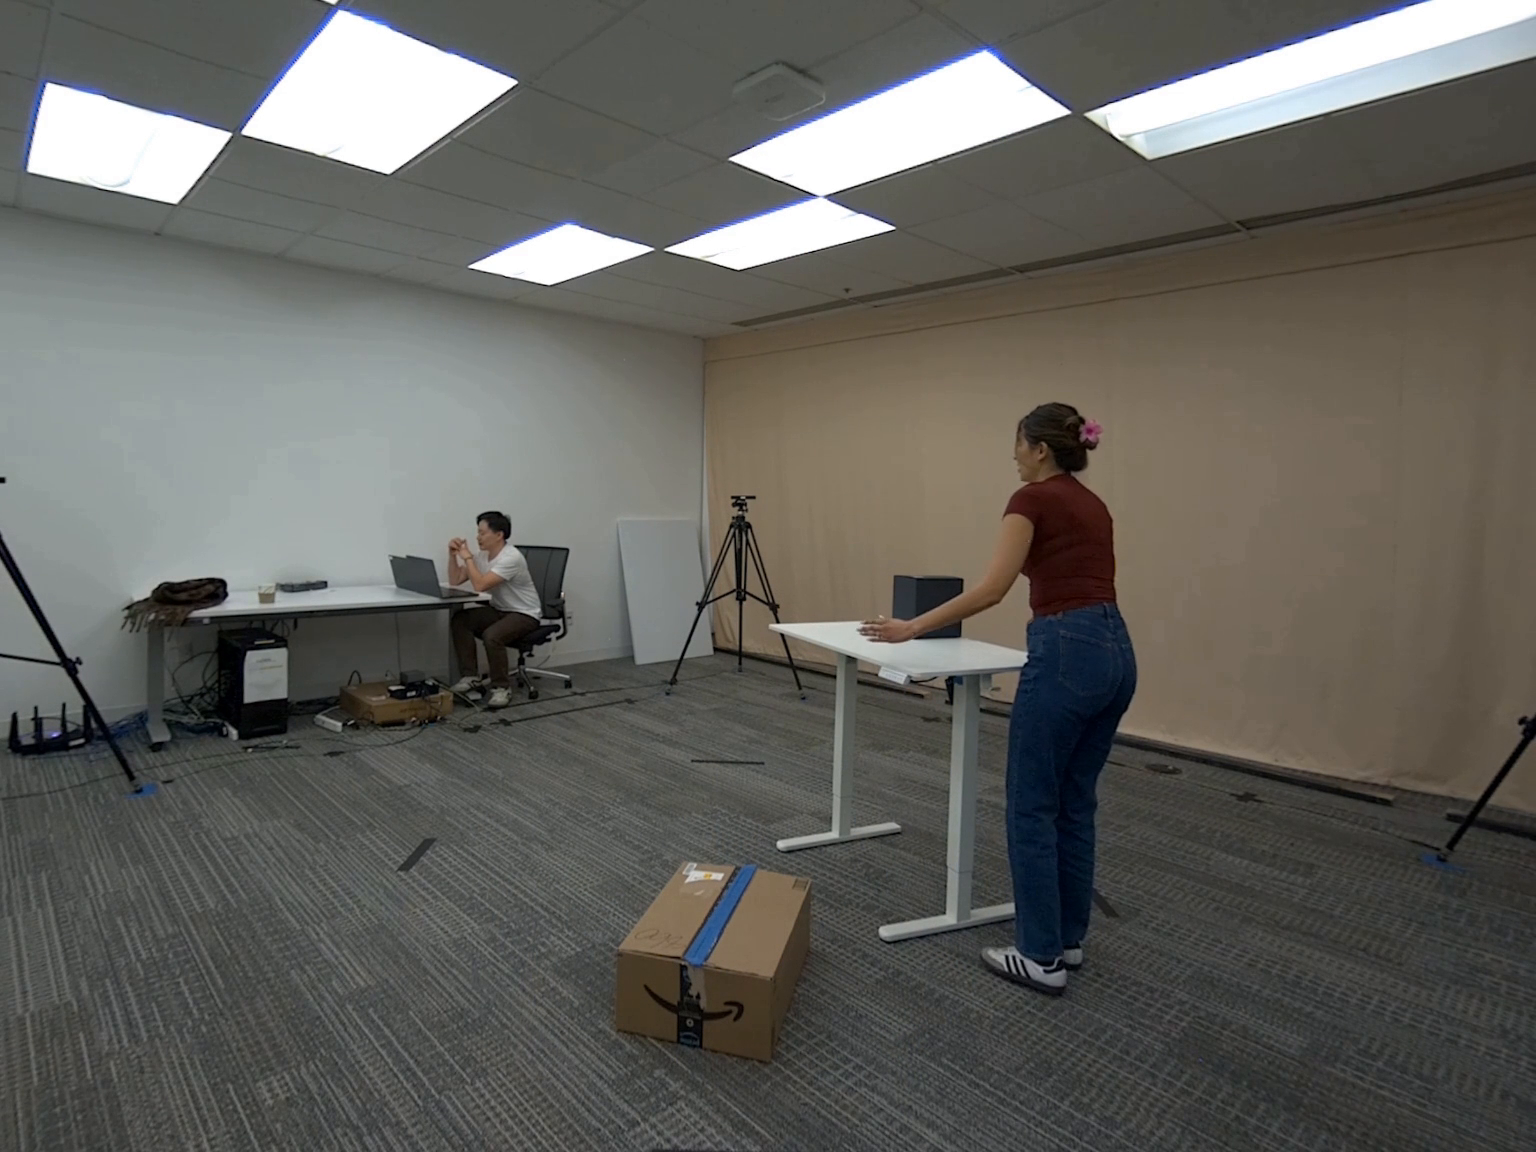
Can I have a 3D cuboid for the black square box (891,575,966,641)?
[{"bbox_3d":[0.606,0.116,3.225,0.213,0.227,0.159,1,3,-23],"label":"black square box"}]
